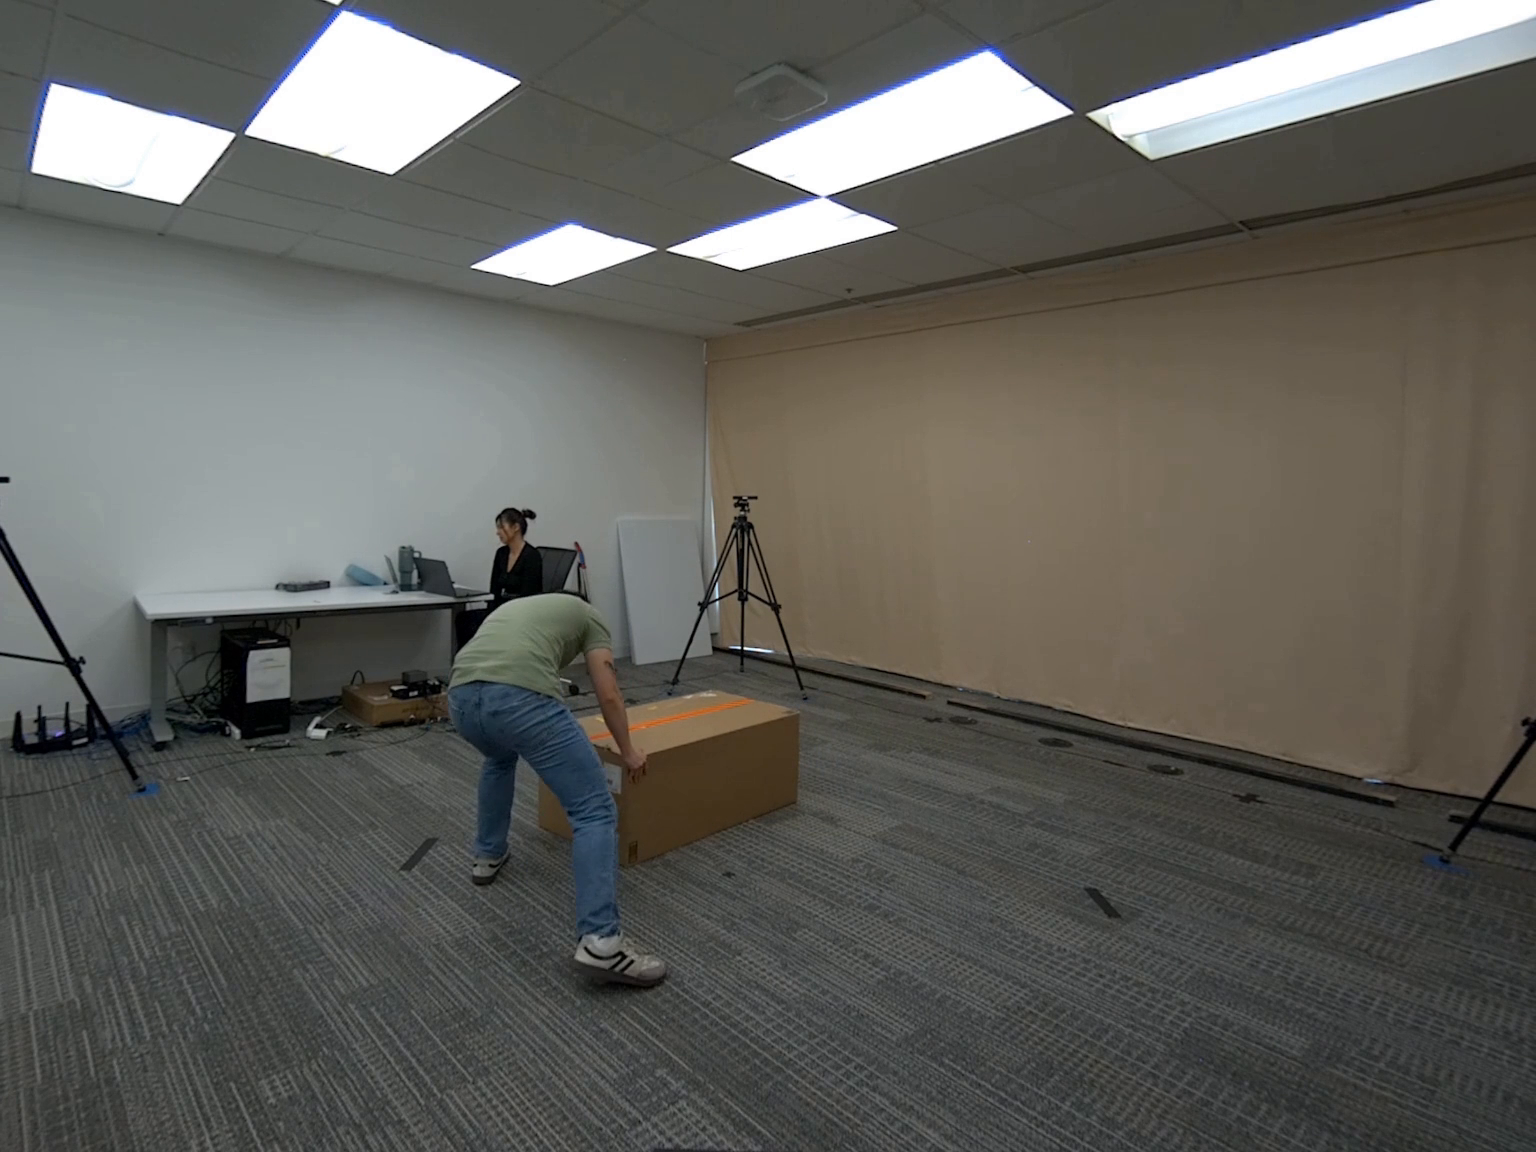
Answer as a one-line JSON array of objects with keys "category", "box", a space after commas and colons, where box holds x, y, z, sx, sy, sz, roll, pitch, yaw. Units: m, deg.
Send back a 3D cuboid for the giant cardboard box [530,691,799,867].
[{"category": "giant cardboard box", "box": [-0.415, 0.830, 3.685, 0.592, 0.425, 1.003, 5, 6, 41]}]
